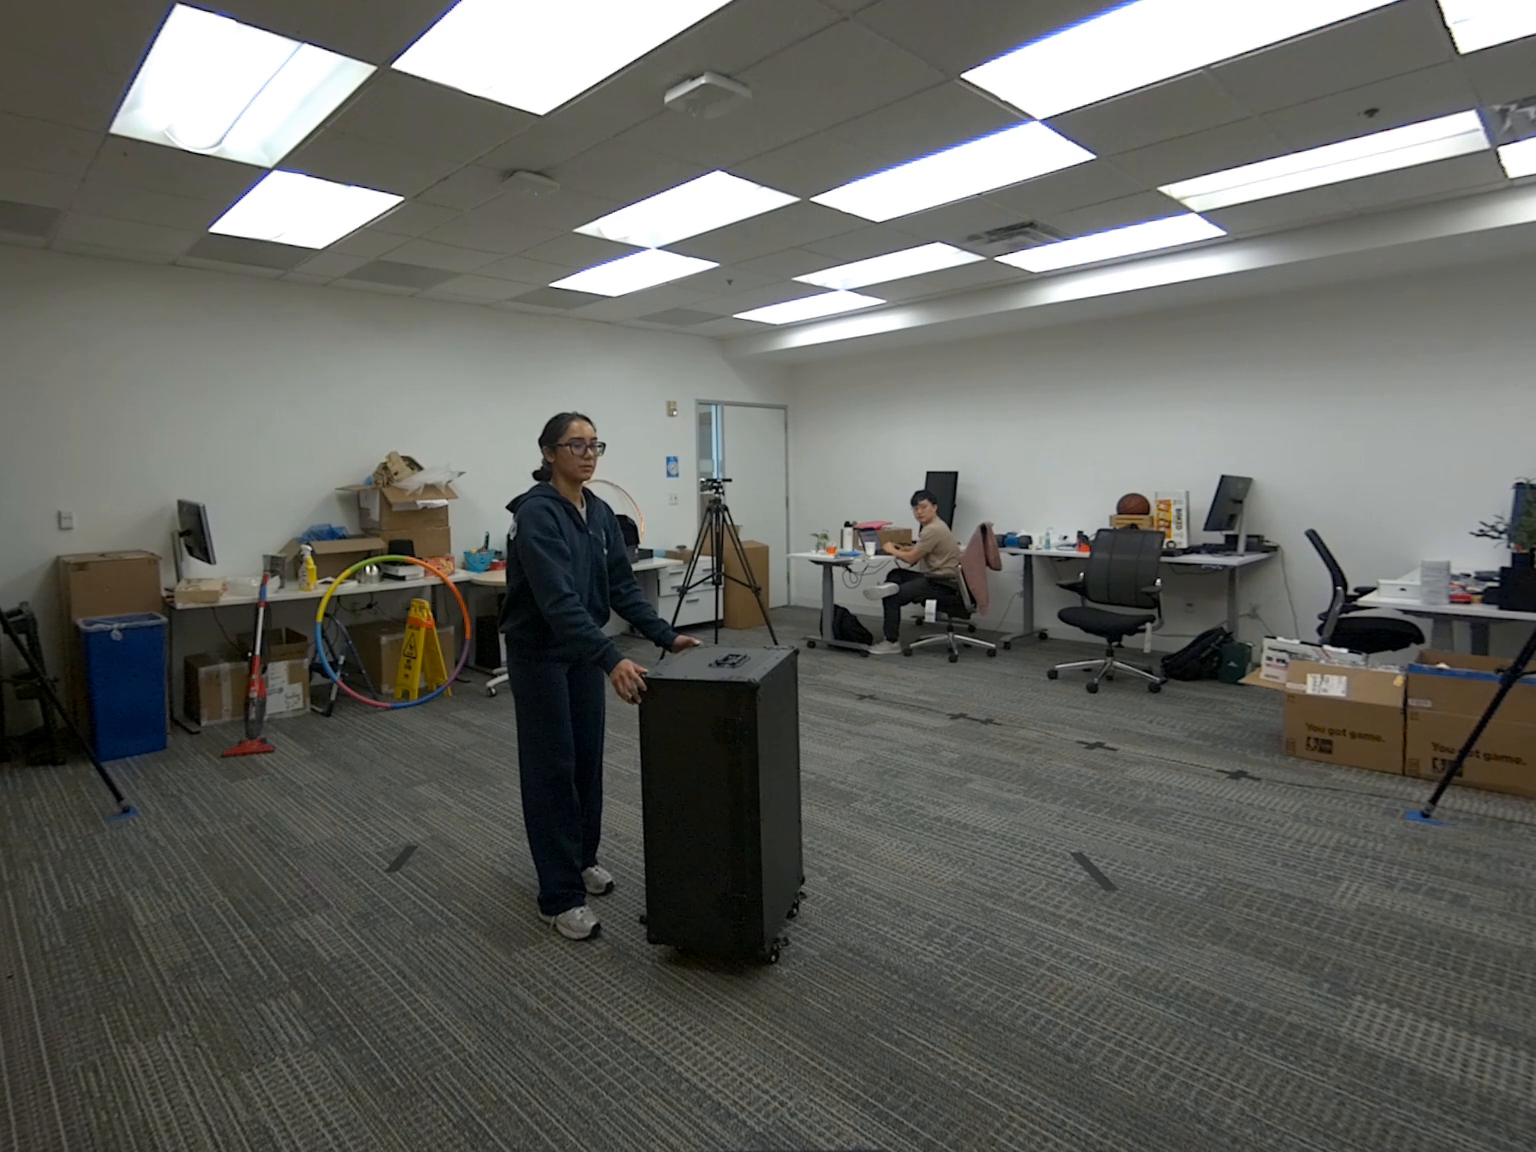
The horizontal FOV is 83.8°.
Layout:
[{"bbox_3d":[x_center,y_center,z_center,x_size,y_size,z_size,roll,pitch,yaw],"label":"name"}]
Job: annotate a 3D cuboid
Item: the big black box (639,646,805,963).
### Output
[{"bbox_3d":[-0.134,0.681,2.606,0.403,0.859,0.514,-1,4,17],"label":"big black box"}]
